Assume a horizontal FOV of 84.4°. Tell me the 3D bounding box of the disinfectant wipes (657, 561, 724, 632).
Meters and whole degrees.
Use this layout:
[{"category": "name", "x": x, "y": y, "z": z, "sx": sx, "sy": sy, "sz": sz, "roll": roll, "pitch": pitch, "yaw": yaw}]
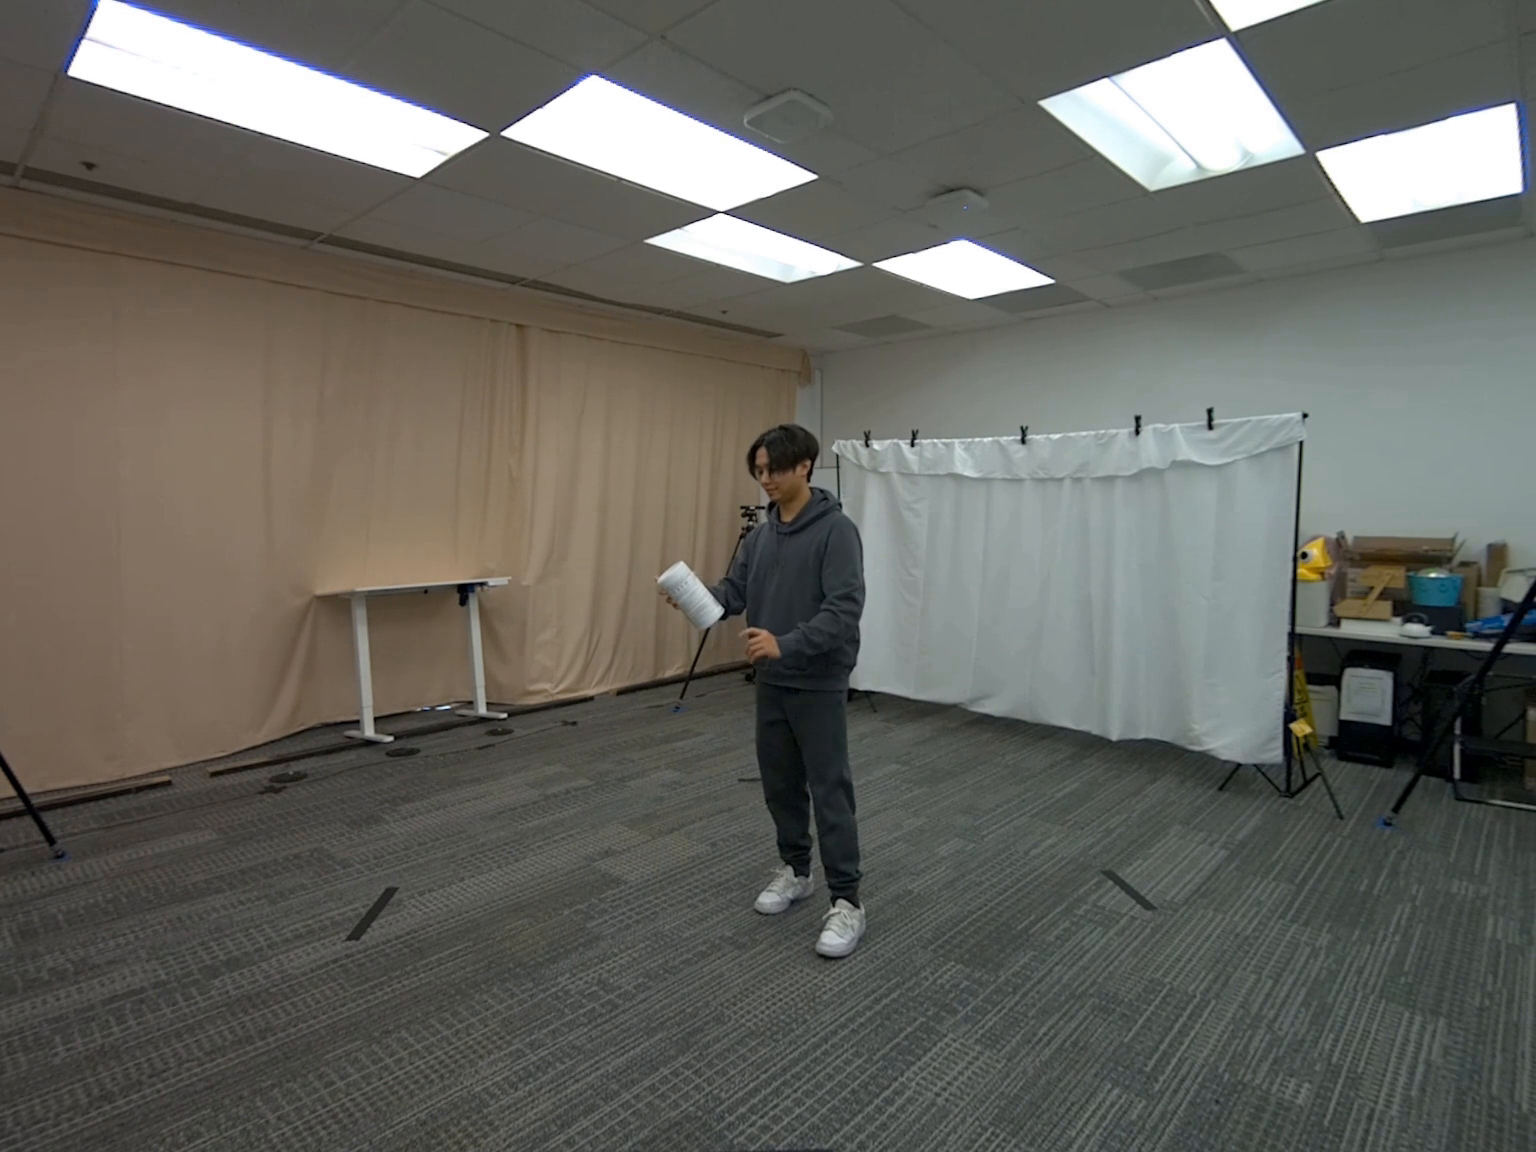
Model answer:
[{"category": "disinfectant wipes", "x": -0.244, "y": 0.072, "z": 2.696, "sx": 0.118, "sy": 0.216, "sz": 0.118, "roll": -39, "pitch": 4, "yaw": 2}]
